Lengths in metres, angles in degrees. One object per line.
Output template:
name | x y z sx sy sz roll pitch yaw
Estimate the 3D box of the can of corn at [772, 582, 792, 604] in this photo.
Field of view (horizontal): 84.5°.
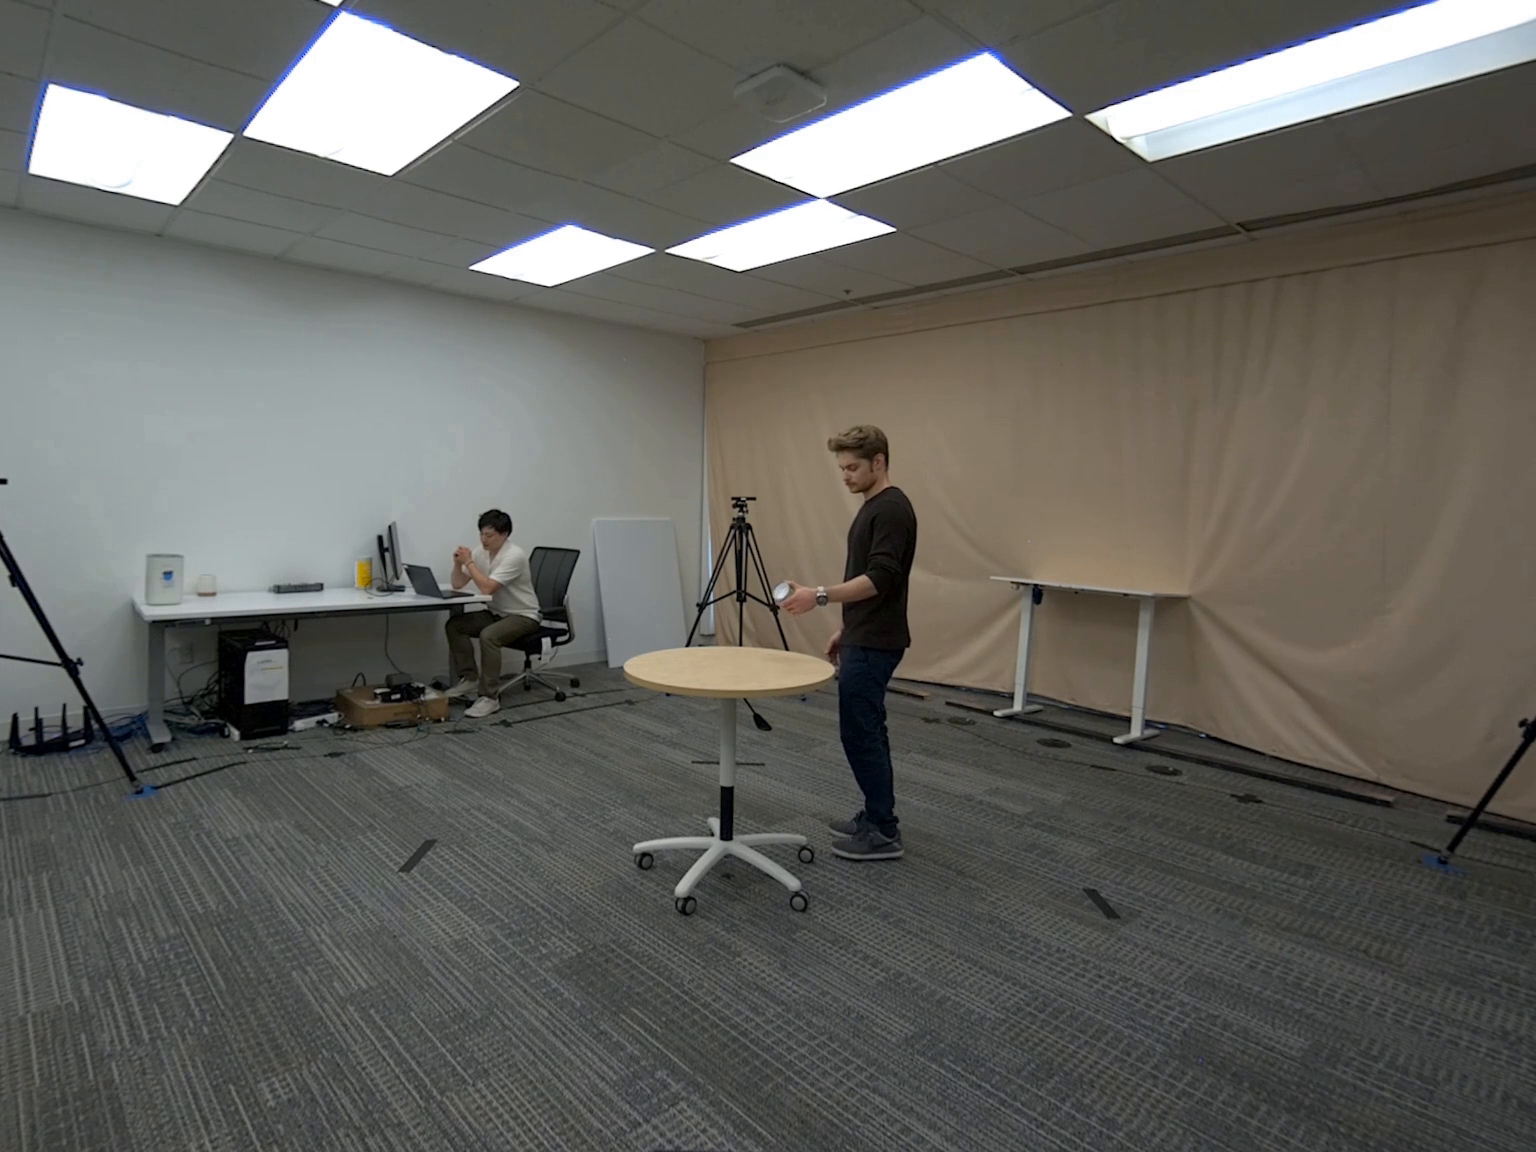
can of corn | 0.060 0.069 3.192 0.075 0.074 0.109 3 -2 15
